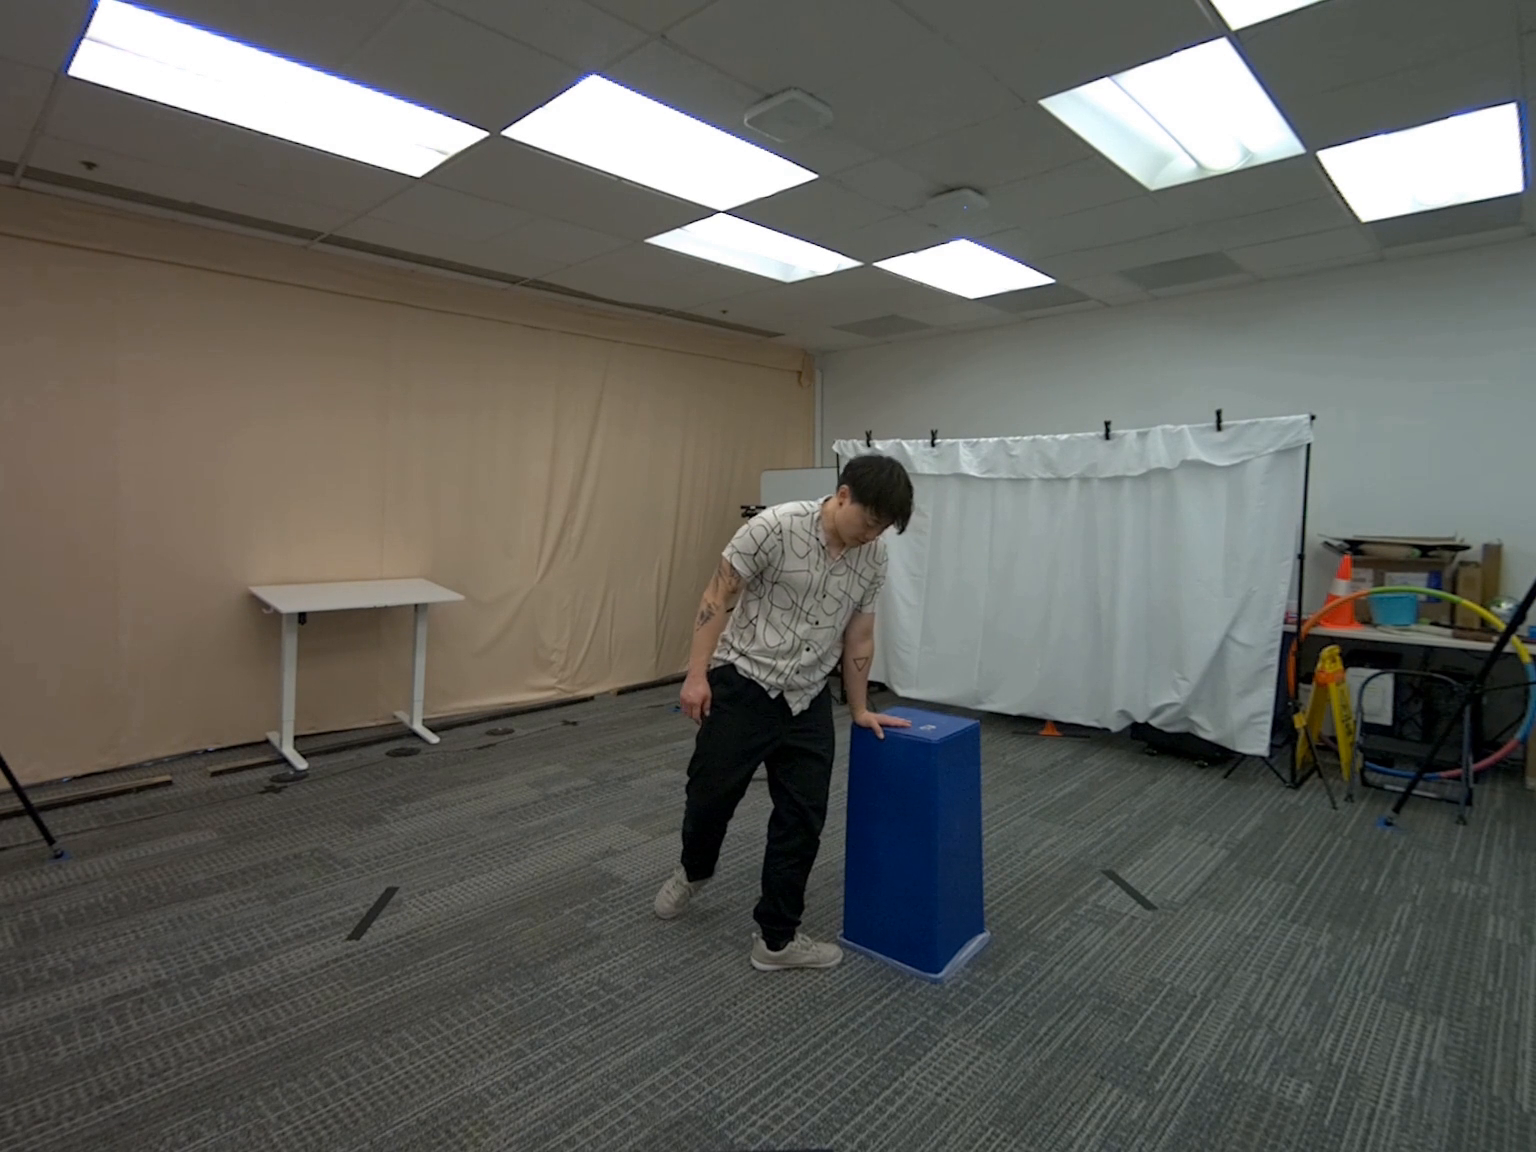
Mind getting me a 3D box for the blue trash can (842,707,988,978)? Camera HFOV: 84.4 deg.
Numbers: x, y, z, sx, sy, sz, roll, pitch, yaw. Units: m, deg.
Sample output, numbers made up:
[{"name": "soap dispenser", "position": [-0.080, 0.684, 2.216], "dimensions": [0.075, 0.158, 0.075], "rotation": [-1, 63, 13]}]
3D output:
[{"name": "blue trash can", "position": [0.482, 0.818, 2.667], "dimensions": [0.386, 0.711, 0.367], "rotation": [4, 6, 39]}]
